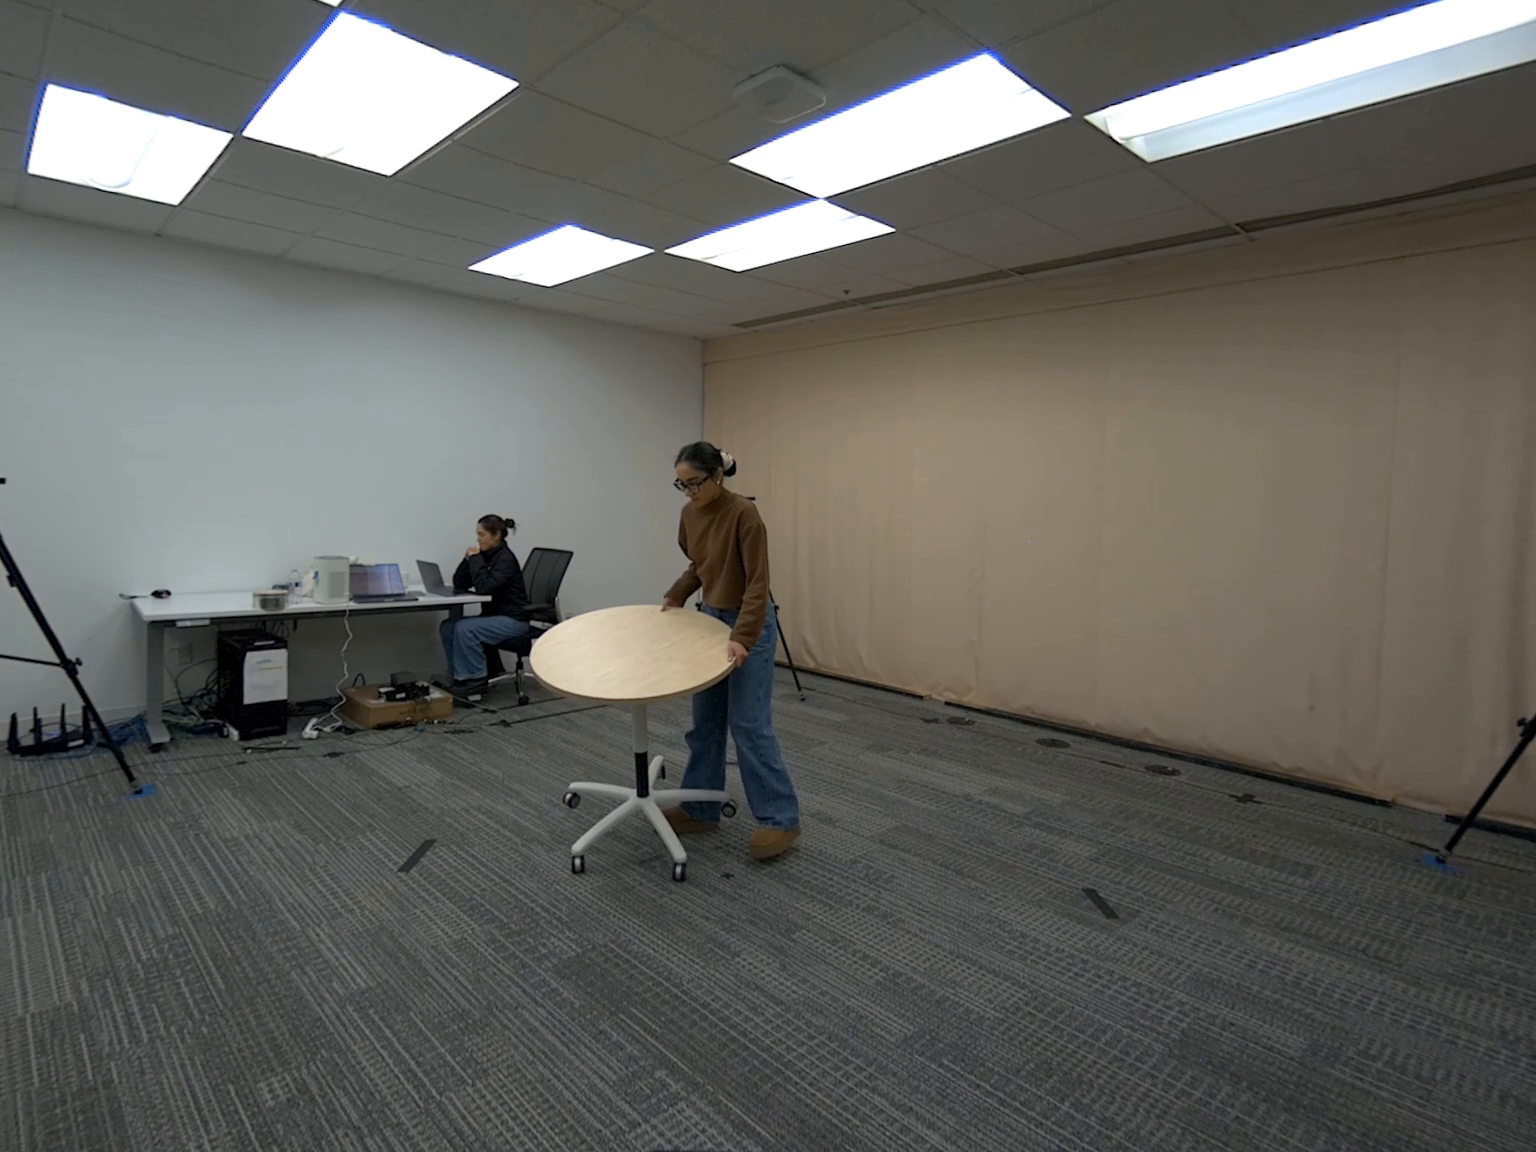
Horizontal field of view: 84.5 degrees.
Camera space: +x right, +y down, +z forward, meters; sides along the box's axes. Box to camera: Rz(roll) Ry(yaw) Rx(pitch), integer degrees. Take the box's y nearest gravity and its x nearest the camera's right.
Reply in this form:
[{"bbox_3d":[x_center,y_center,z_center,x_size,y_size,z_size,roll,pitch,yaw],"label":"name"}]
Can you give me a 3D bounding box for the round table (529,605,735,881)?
[{"bbox_3d":[-0.504,0.634,3.231,0.763,0.783,0.775,0,20,-1],"label":"round table"}]
